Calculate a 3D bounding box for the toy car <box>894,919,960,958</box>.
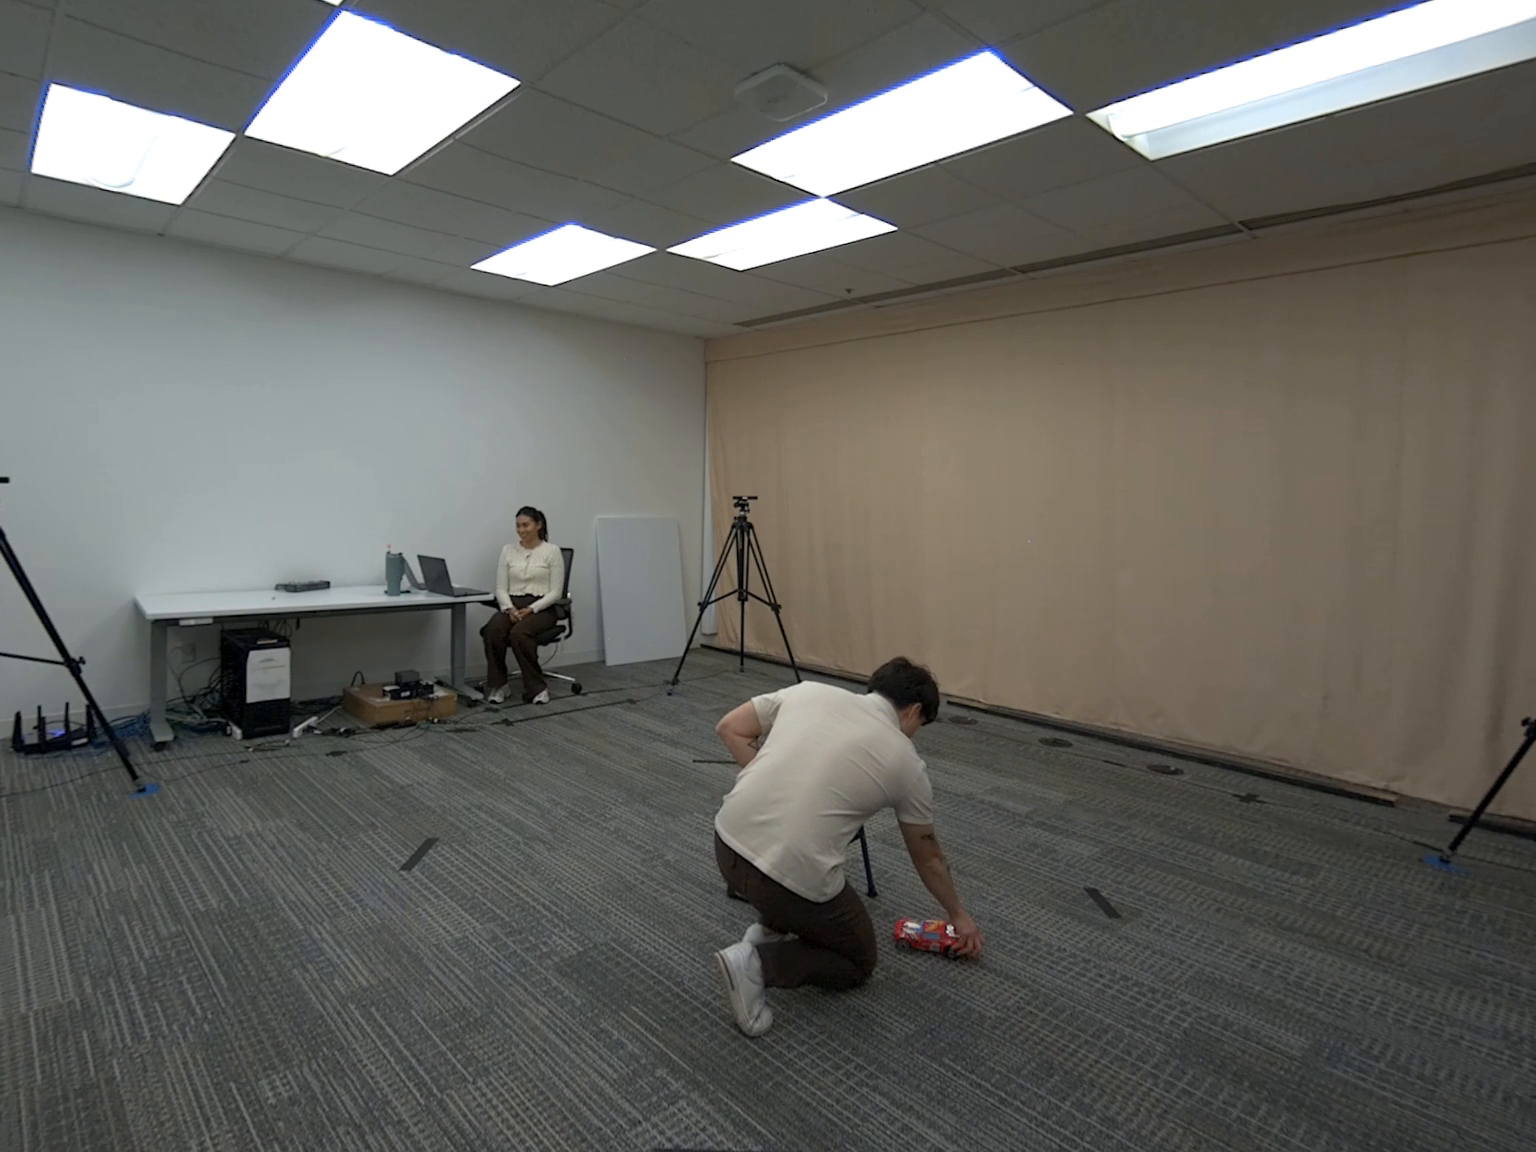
[{"bbox_3d":[0.519,1.131,2.618,0.257,0.083,0.129,-9,8,17],"label":"toy car"}]
